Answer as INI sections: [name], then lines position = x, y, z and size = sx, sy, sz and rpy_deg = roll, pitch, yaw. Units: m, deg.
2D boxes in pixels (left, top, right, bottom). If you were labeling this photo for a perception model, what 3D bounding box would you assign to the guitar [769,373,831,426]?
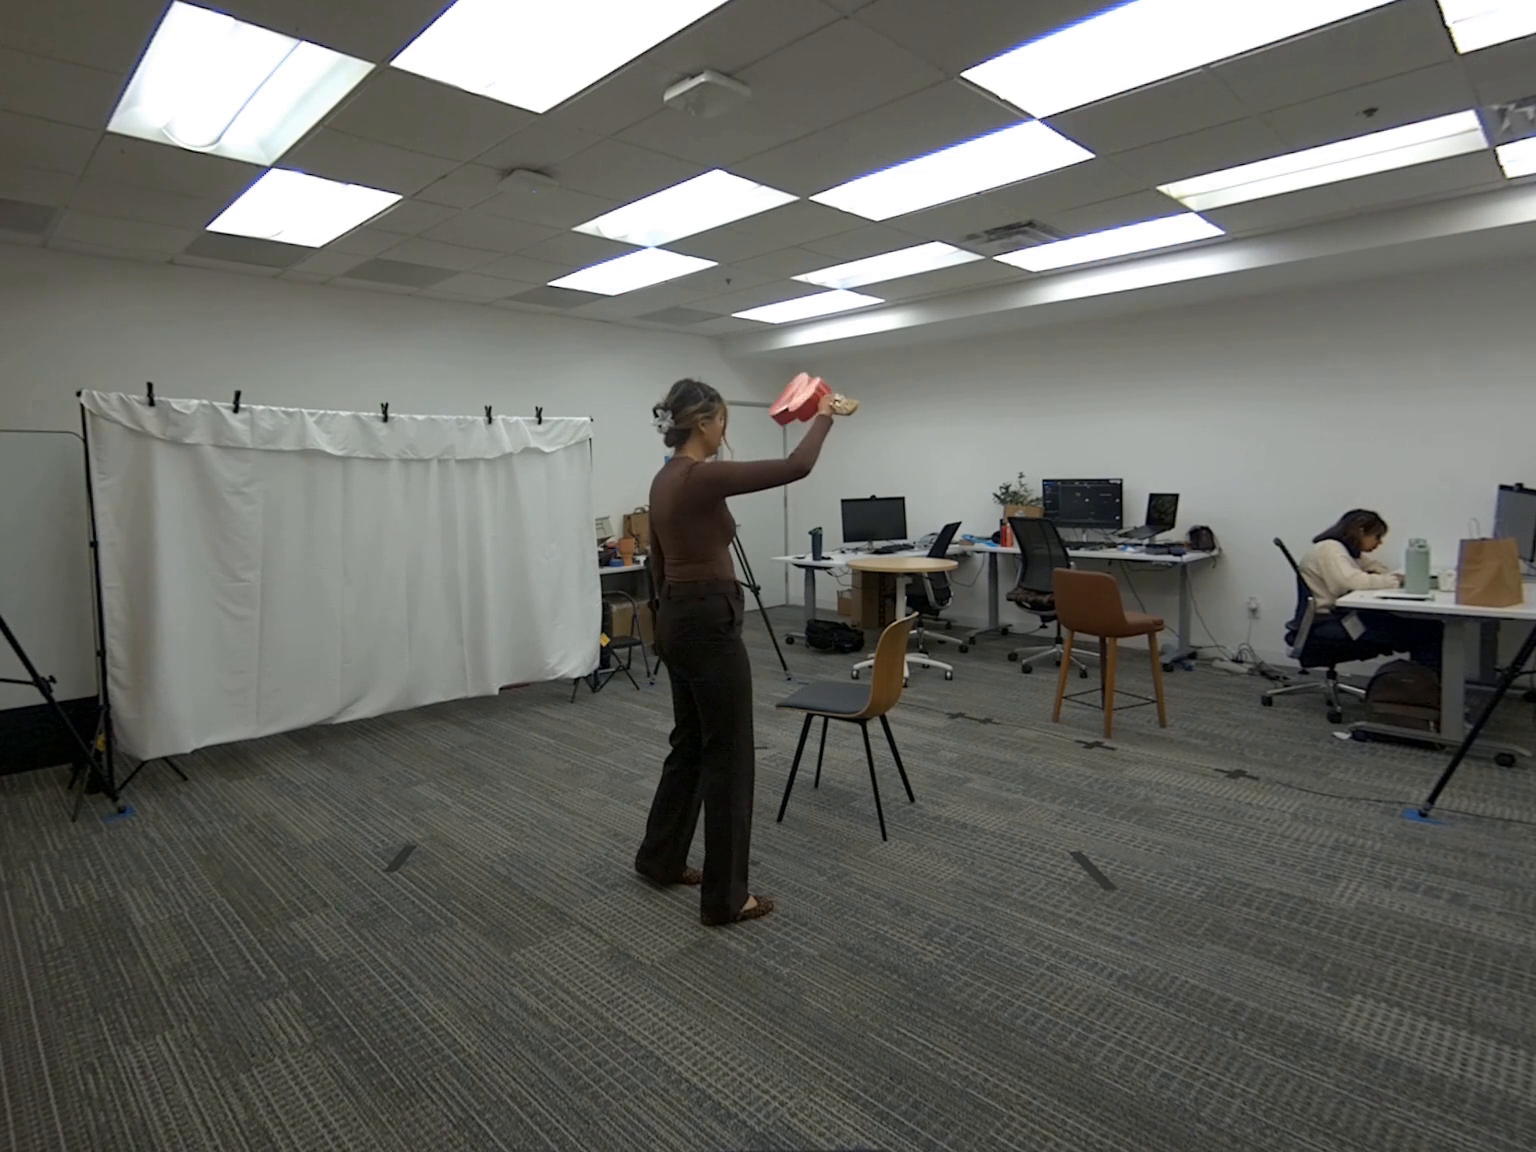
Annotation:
[guitar]
position = 0.168, -0.587, 2.816
size = 0.069, 0.193, 0.510
rpy_deg = 41, -12, -23
